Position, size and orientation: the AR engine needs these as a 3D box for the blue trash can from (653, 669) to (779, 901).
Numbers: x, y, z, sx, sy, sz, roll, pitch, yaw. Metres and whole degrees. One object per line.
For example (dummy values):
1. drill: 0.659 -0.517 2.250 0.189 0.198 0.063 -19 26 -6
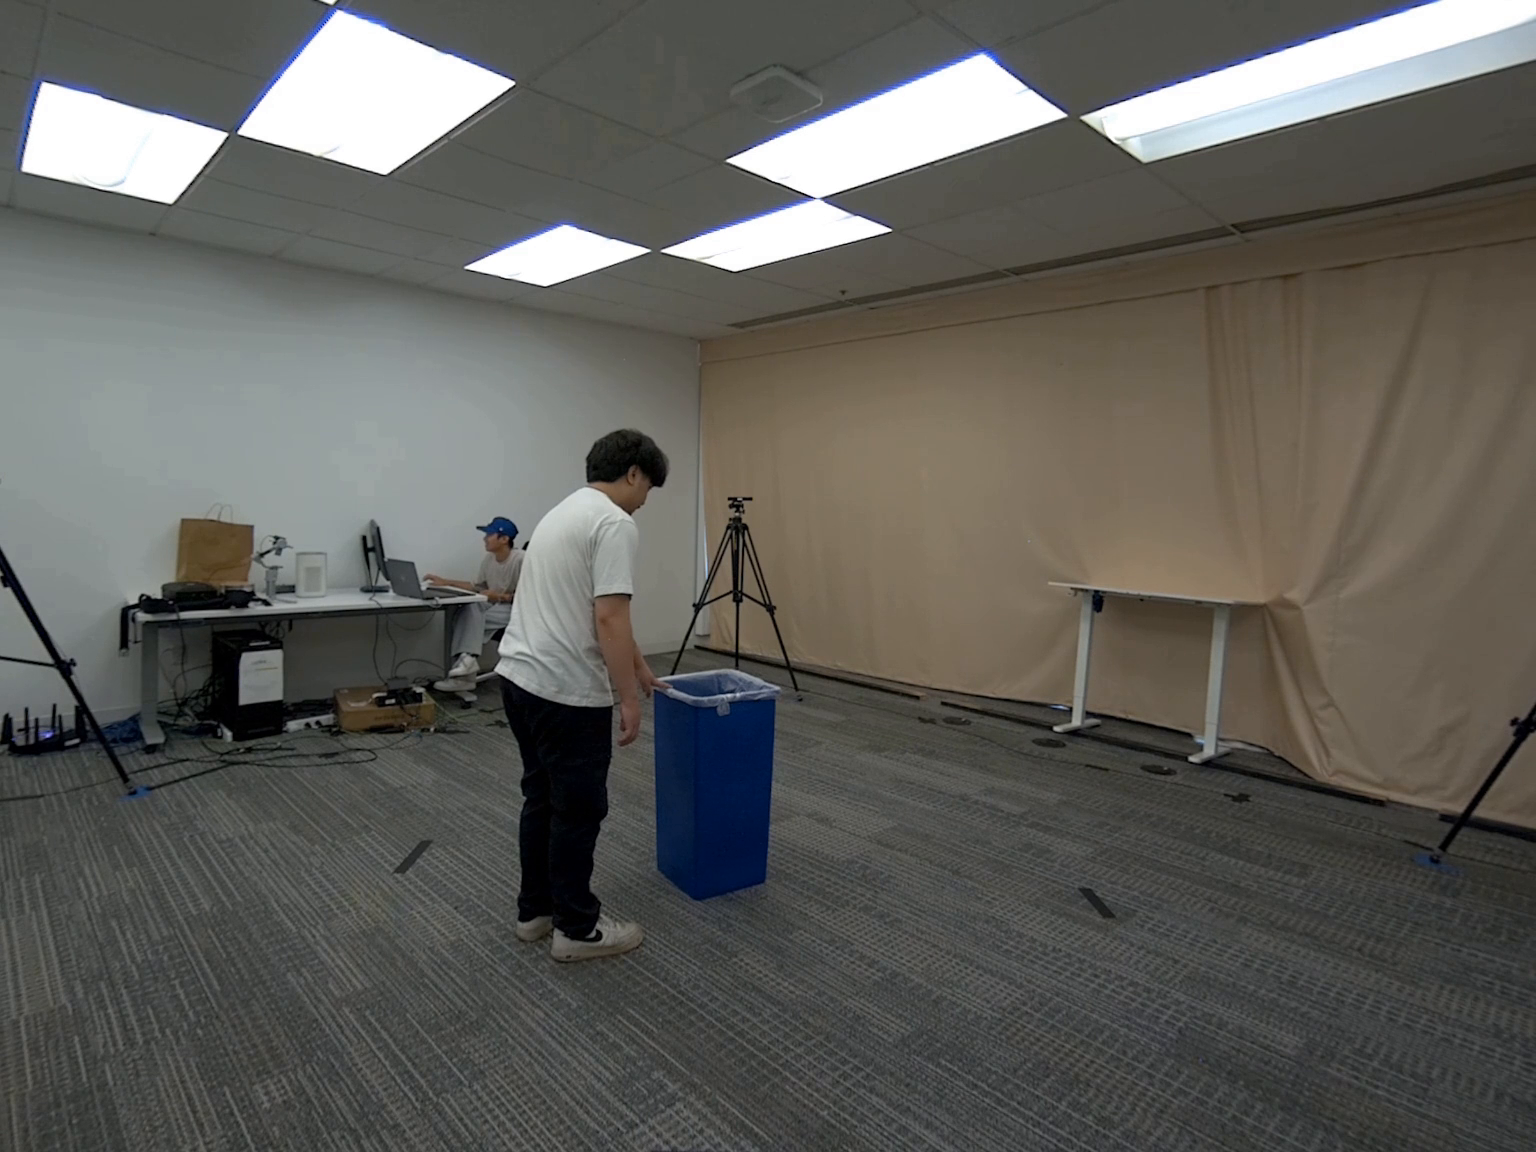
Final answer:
1. blue trash can: -0.216 0.747 3.097 0.370 0.712 0.383 -1 4 -34
